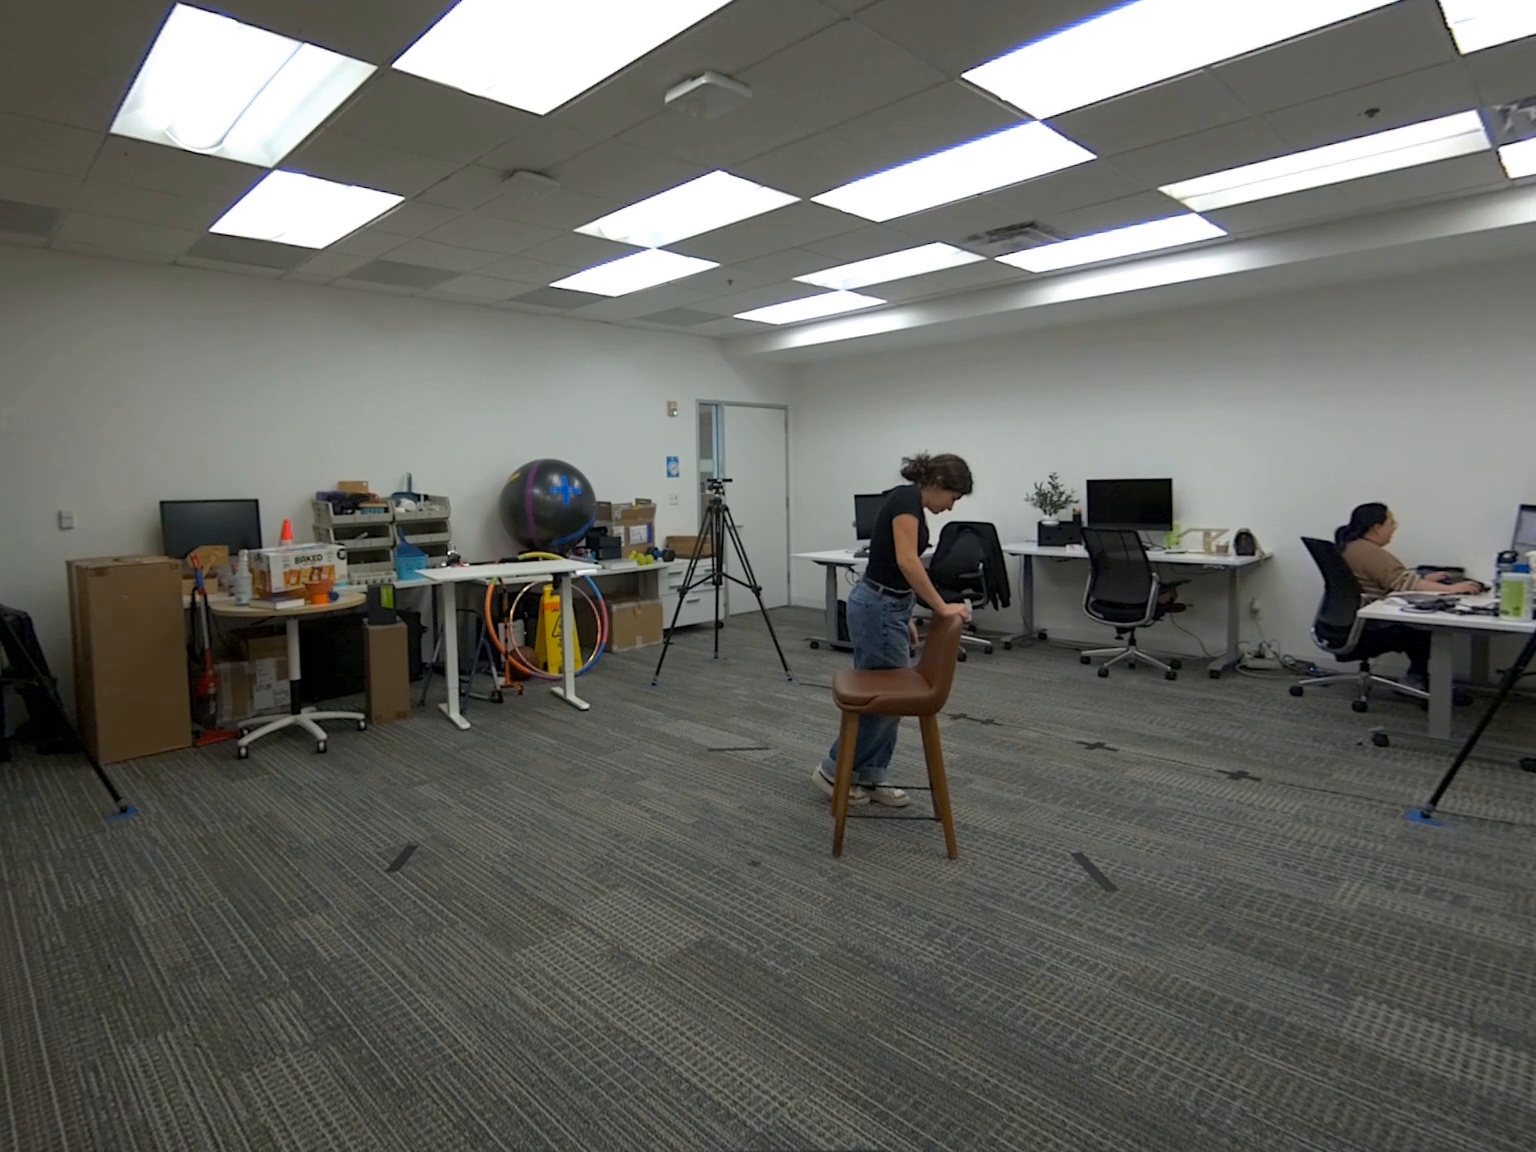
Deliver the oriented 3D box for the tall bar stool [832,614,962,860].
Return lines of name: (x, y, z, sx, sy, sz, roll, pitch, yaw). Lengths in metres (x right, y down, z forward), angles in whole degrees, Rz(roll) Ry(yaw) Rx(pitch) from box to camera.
tall bar stool: (0.483, 0.580, 3.292, 0.470, 0.887, 0.455, 2, 4, 5)
